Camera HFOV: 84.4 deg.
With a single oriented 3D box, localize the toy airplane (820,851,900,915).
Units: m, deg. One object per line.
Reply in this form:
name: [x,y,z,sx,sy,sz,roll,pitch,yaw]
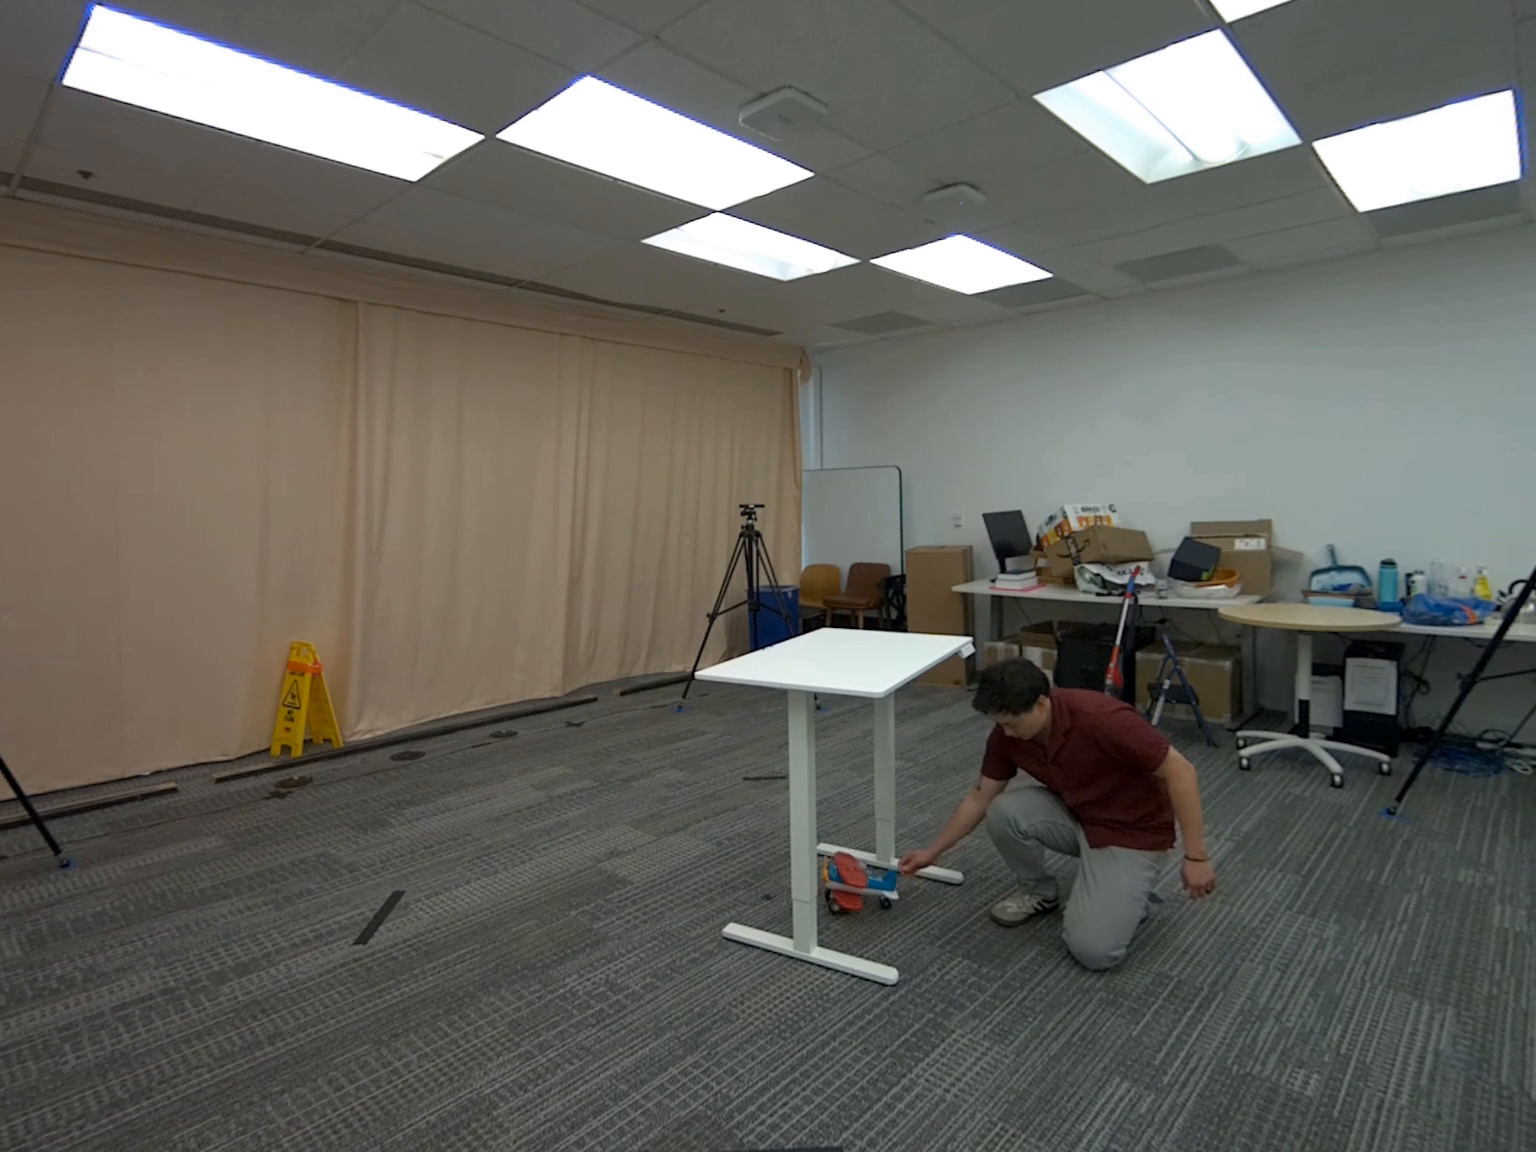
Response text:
toy airplane: [0.320,1.072,2.912,0.252,0.156,0.258,-4,6,-30]
